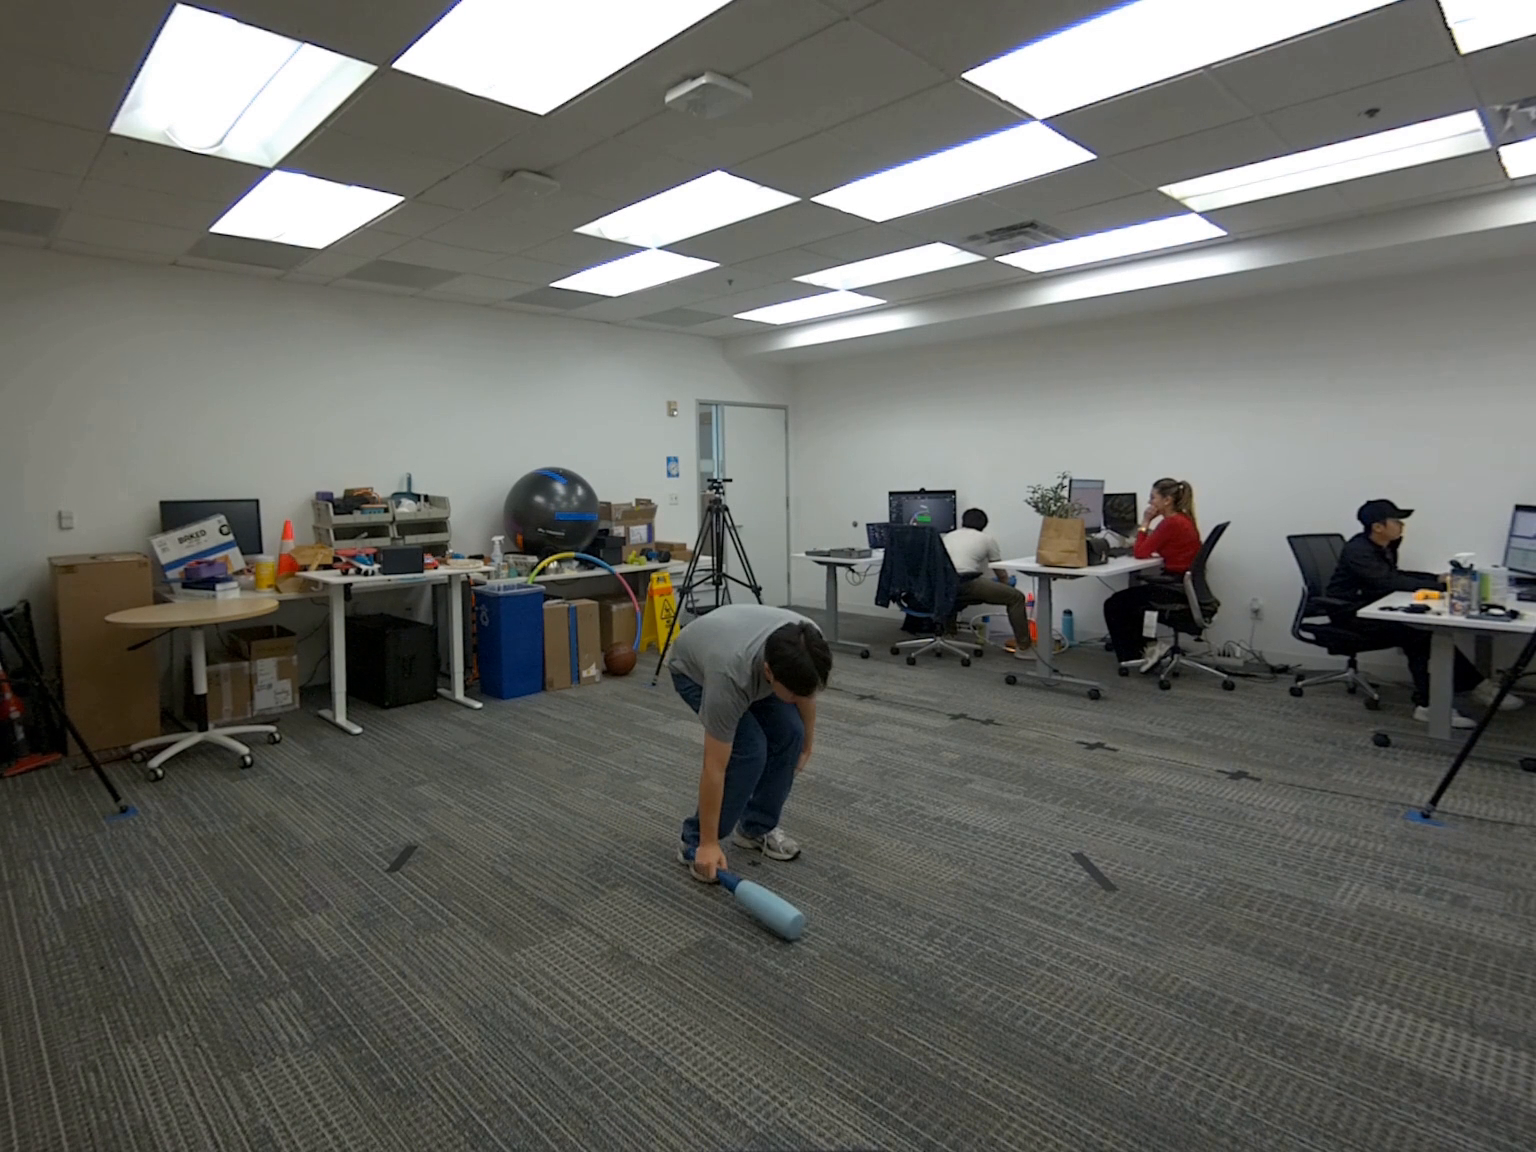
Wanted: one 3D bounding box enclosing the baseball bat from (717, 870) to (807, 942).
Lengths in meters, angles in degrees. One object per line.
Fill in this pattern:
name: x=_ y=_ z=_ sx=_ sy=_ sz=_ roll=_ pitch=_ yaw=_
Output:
baseball bat: x=-0.087 y=1.005 z=2.769 sx=0.087 sy=0.088 sz=0.561 roll=-5 pitch=12 yaw=-41
